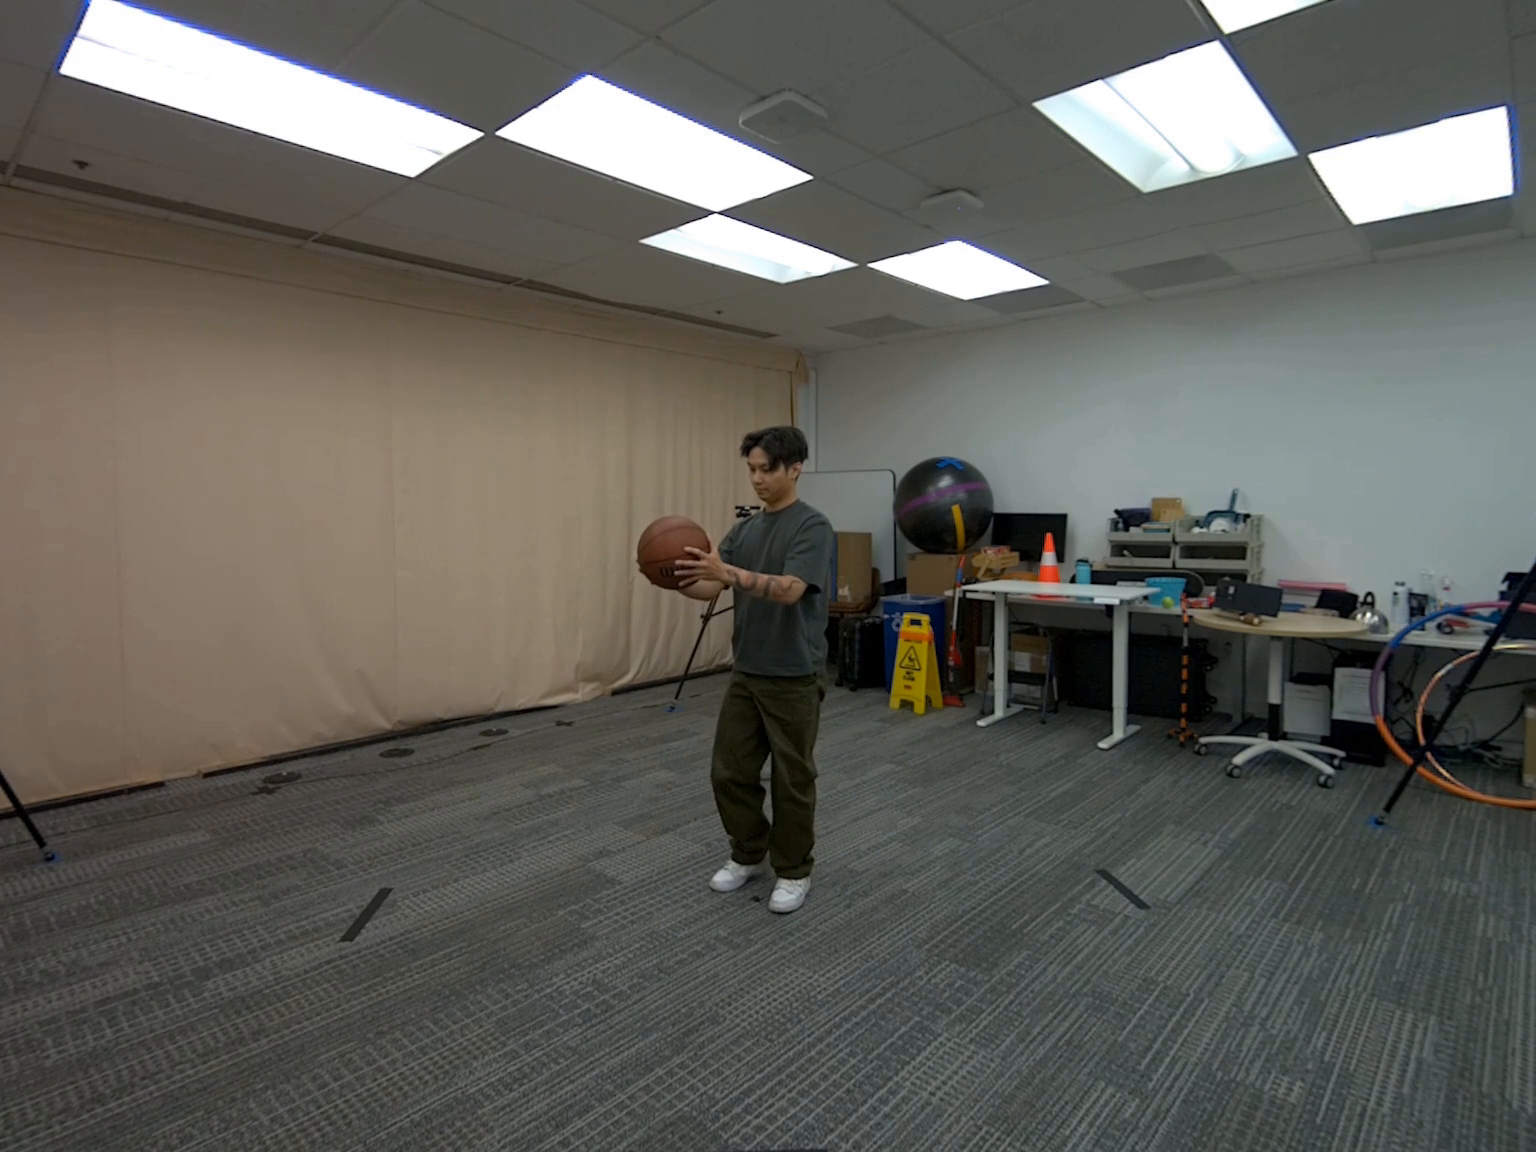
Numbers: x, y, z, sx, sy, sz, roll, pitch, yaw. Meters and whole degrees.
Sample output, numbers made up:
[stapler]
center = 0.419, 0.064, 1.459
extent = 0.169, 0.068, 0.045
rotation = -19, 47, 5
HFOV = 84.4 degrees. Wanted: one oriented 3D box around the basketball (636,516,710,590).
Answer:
[basketball]
center = -0.299, -0.070, 2.714
extent = 0.236, 0.235, 0.237
rotation = 0, 4, -2
